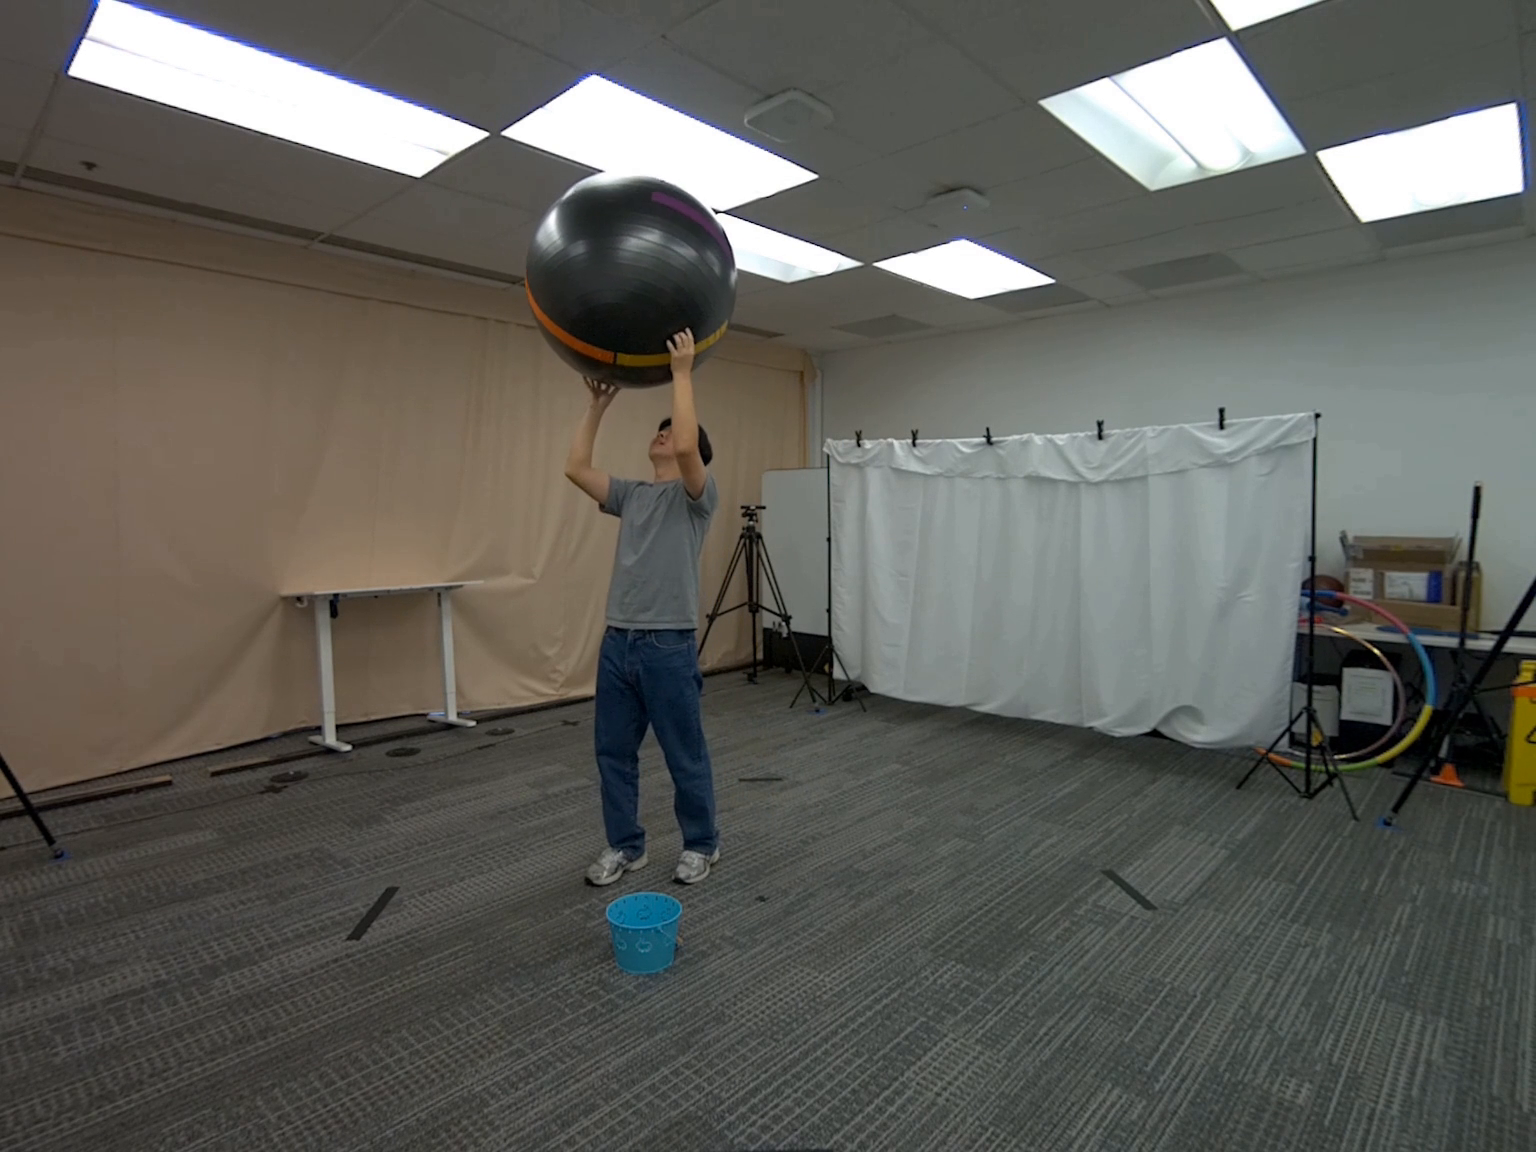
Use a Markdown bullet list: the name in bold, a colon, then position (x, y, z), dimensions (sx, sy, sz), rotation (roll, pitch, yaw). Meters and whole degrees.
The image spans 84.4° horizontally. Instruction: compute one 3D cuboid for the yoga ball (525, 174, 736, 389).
- **yoga ball**: position (-0.500, -1.061, 3.068), dimensions (0.757, 0.756, 0.761), rotation (0, 4, -2)
